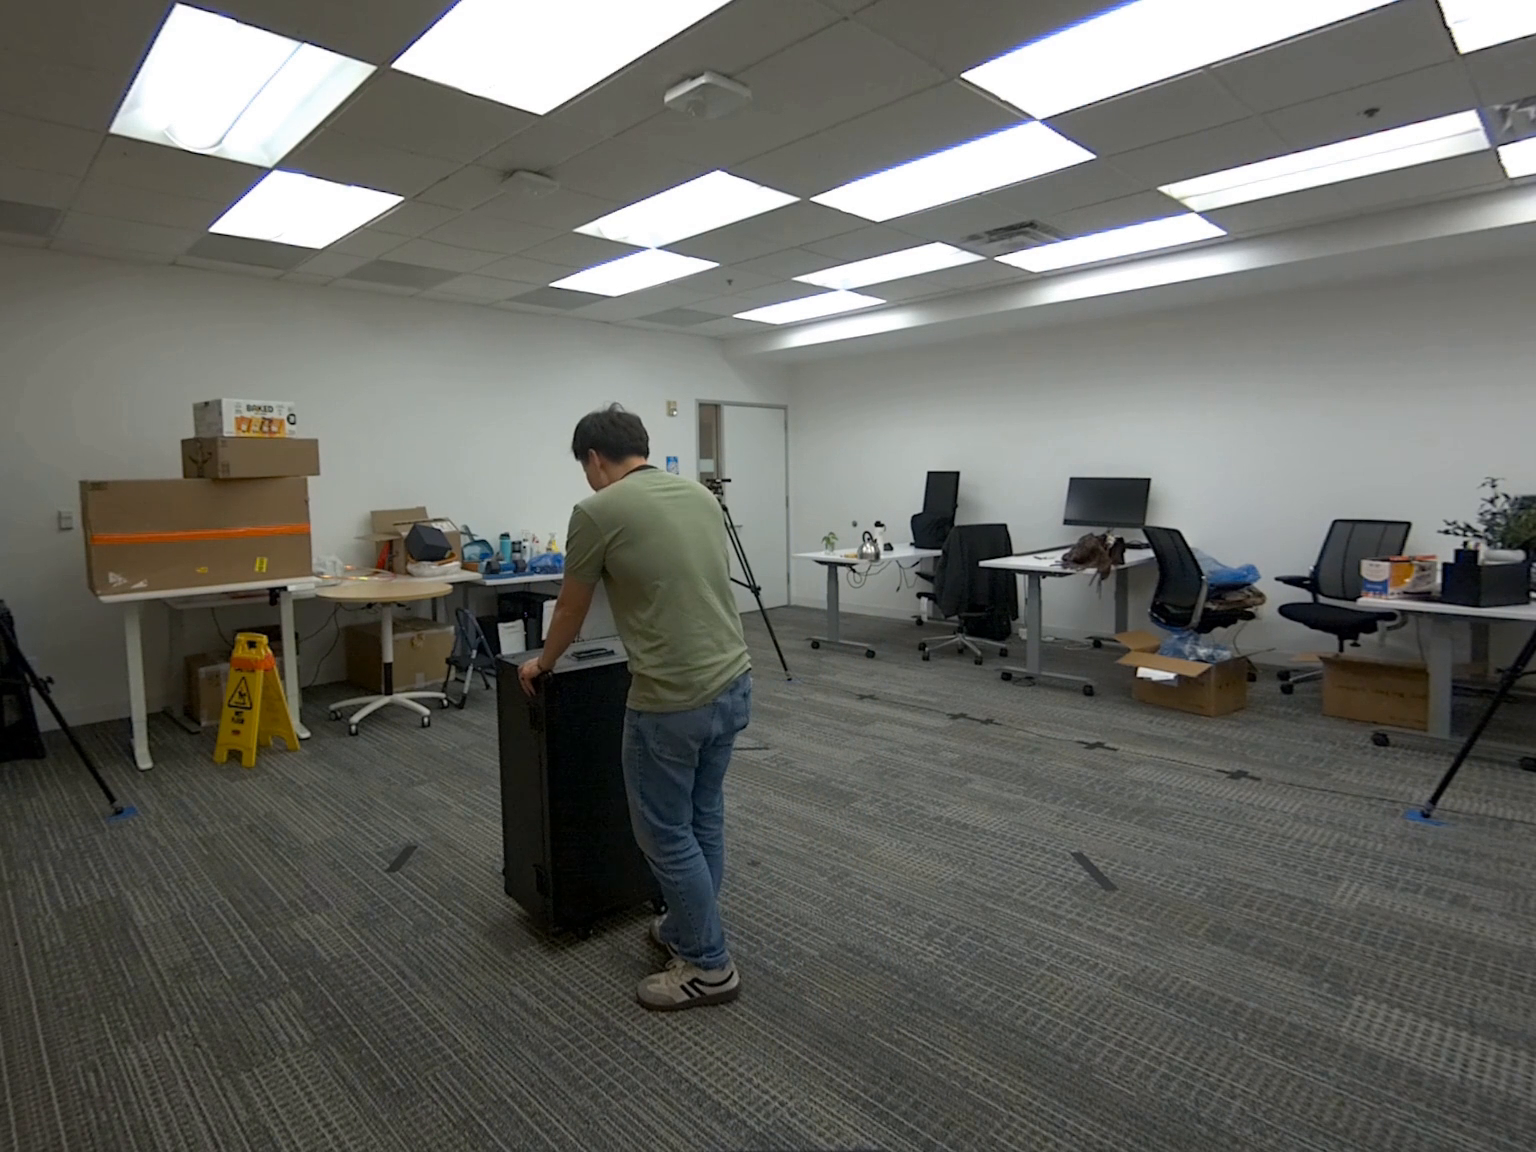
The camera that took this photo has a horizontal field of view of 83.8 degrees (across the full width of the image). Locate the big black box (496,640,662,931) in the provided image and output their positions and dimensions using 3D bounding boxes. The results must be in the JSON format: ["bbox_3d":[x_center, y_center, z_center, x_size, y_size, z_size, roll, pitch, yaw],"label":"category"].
[{"bbox_3d":[-0.586,0.671,2.765,0.508,0.859,0.408,-5,4,-39],"label":"big black box"}]
